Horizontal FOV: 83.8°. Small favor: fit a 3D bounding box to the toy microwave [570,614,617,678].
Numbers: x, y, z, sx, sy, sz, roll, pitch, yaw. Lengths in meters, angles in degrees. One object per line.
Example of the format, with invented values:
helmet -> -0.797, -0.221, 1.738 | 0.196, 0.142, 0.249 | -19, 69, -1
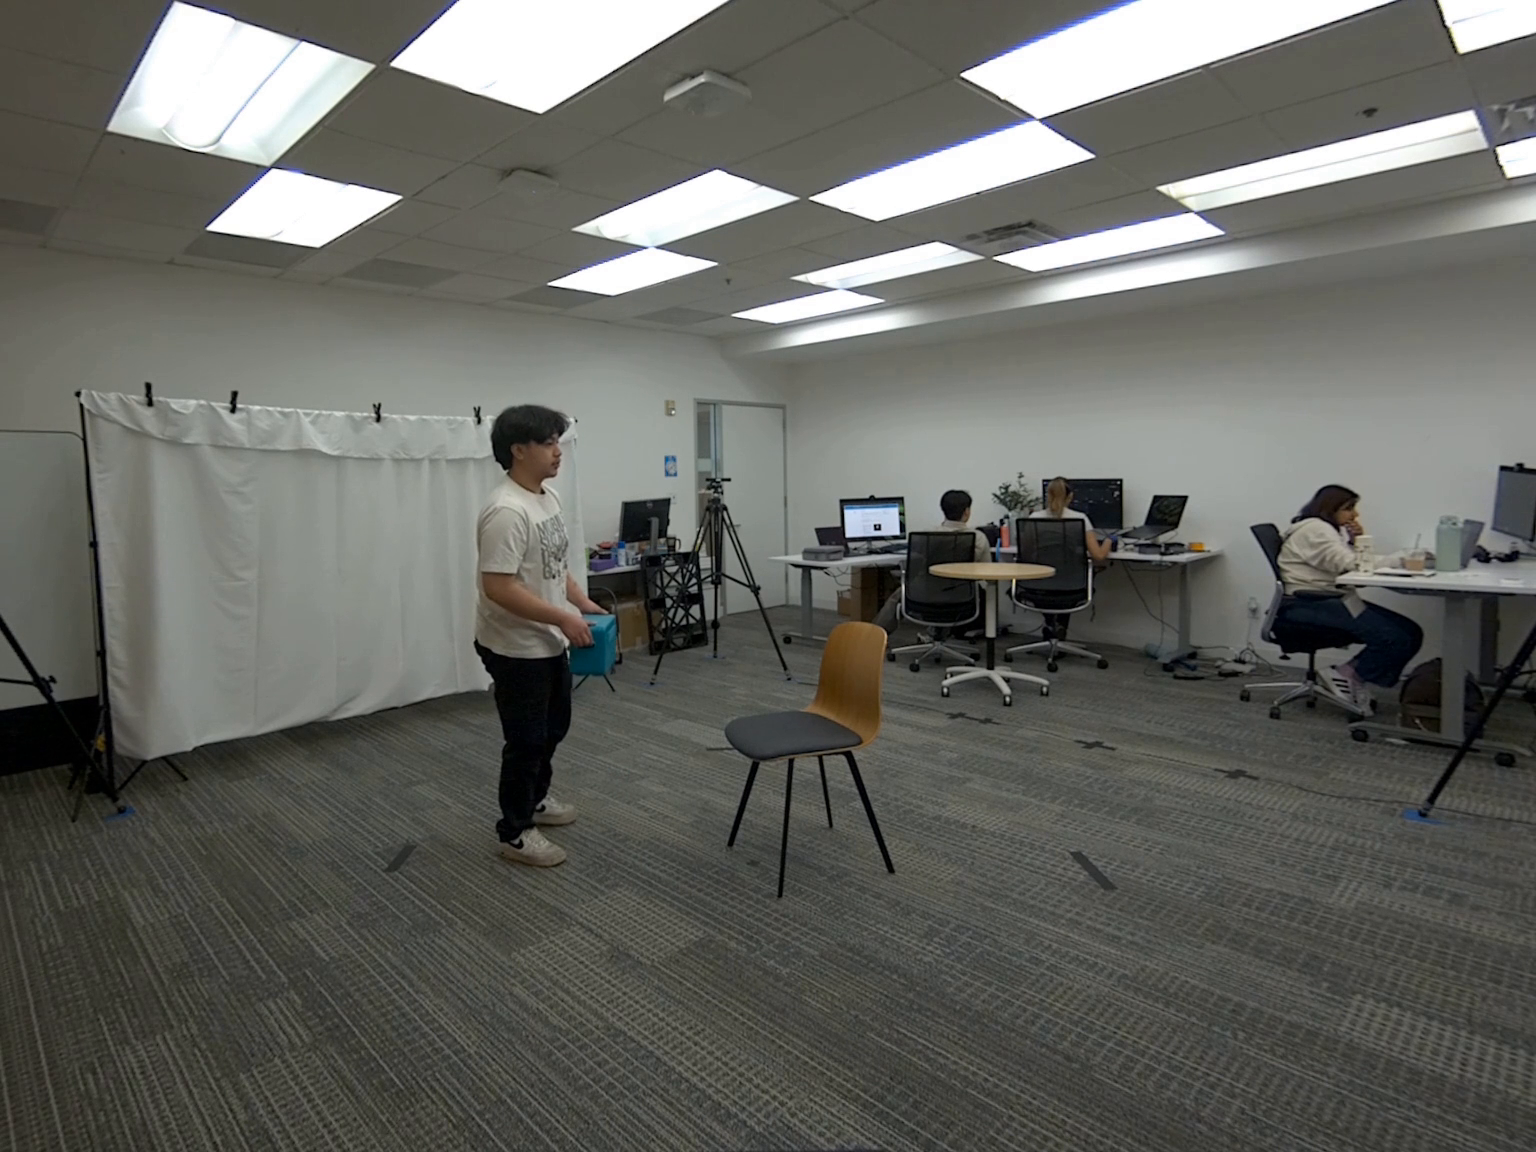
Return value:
toy microwave -> -0.654, 0.257, 3.164 | 0.153, 0.183, 0.286 | 2, 7, 3
